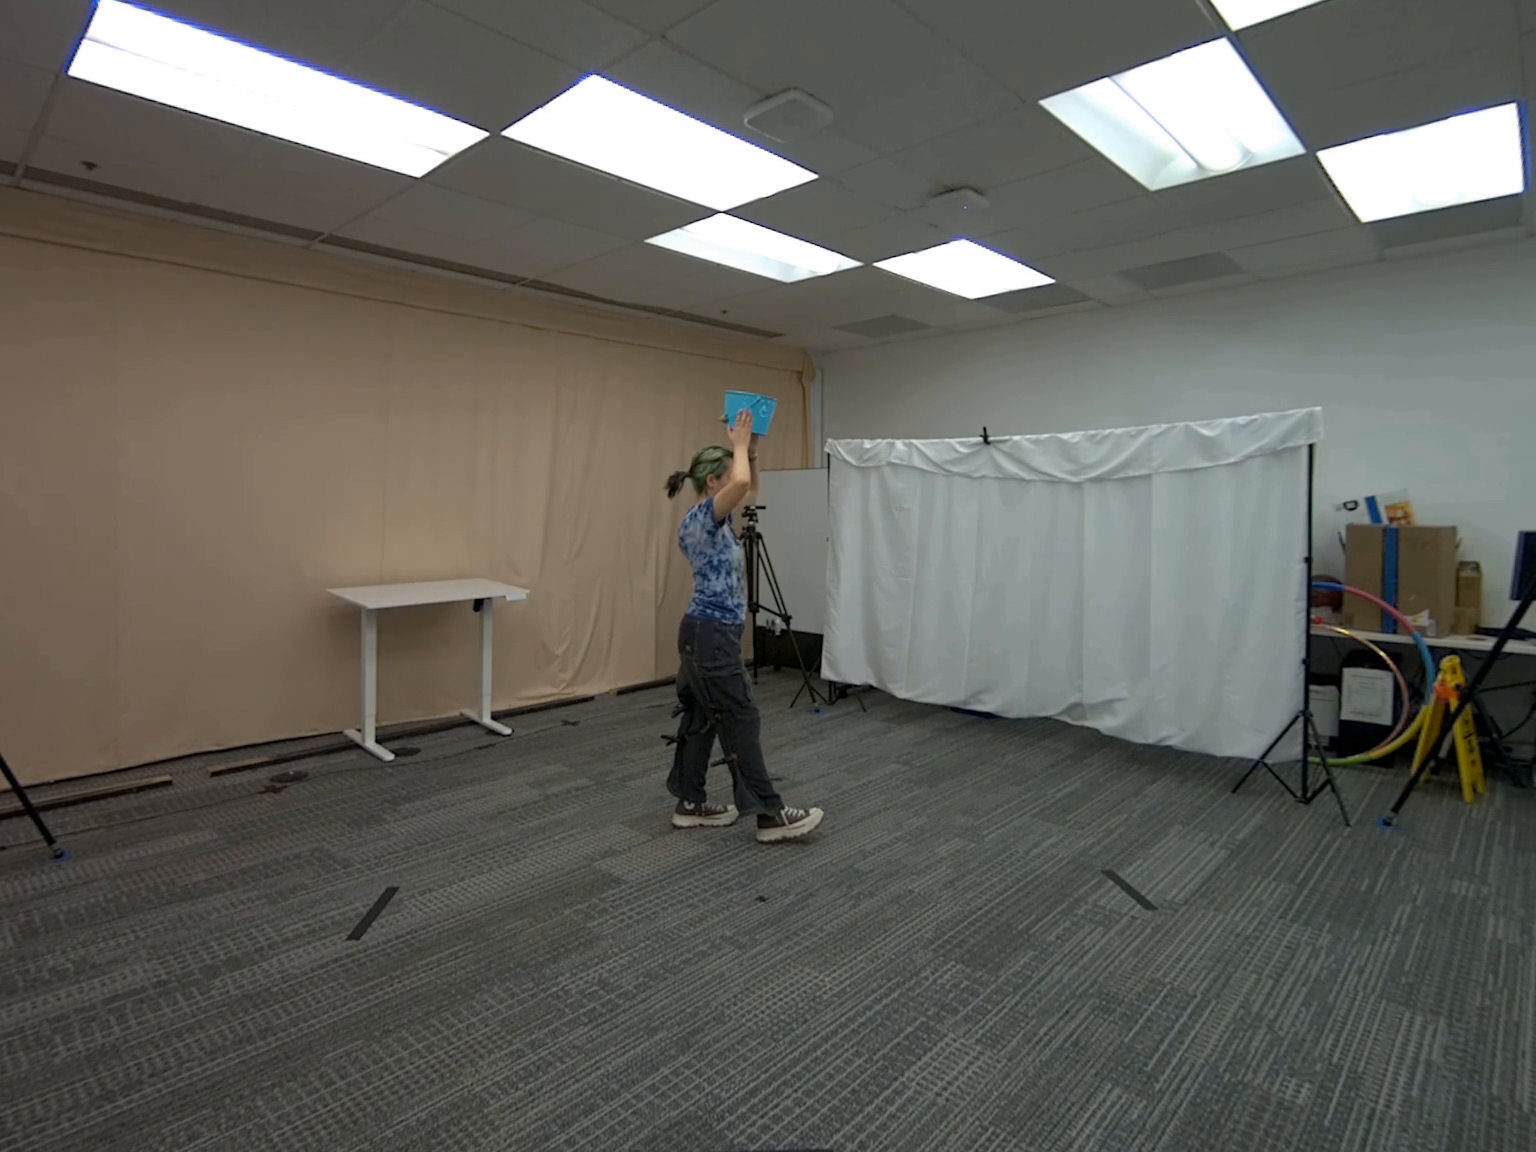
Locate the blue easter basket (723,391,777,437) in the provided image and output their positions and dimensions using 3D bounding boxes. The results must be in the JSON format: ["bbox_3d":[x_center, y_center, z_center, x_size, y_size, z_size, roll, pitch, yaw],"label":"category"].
[{"bbox_3d":[-0.091,-0.690,3.569,0.243,0.155,0.245,9,6,-3],"label":"blue easter basket"}]
